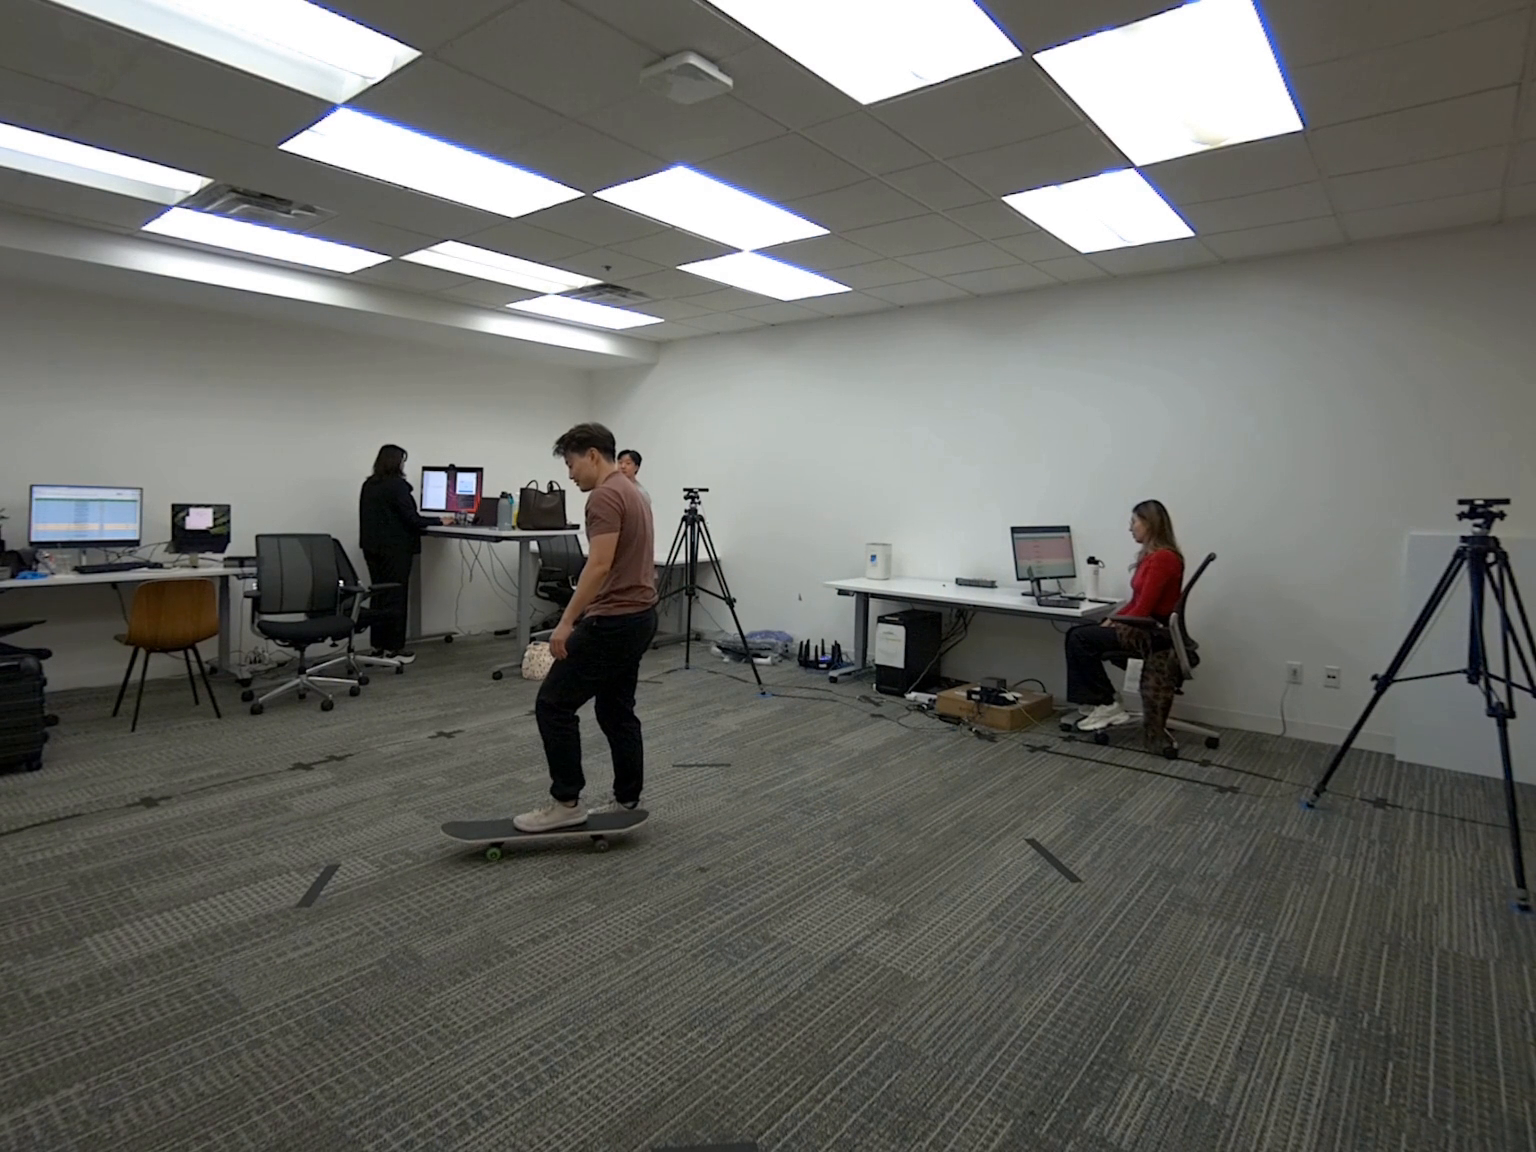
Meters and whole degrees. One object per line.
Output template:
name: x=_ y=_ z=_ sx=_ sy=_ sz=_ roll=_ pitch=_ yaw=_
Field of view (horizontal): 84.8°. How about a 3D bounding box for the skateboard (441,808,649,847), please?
skateboard: x=-0.847 y=0.987 z=3.269 sx=0.774 sy=0.110 sz=0.197 roll=-1 pitch=5 yaw=-14
